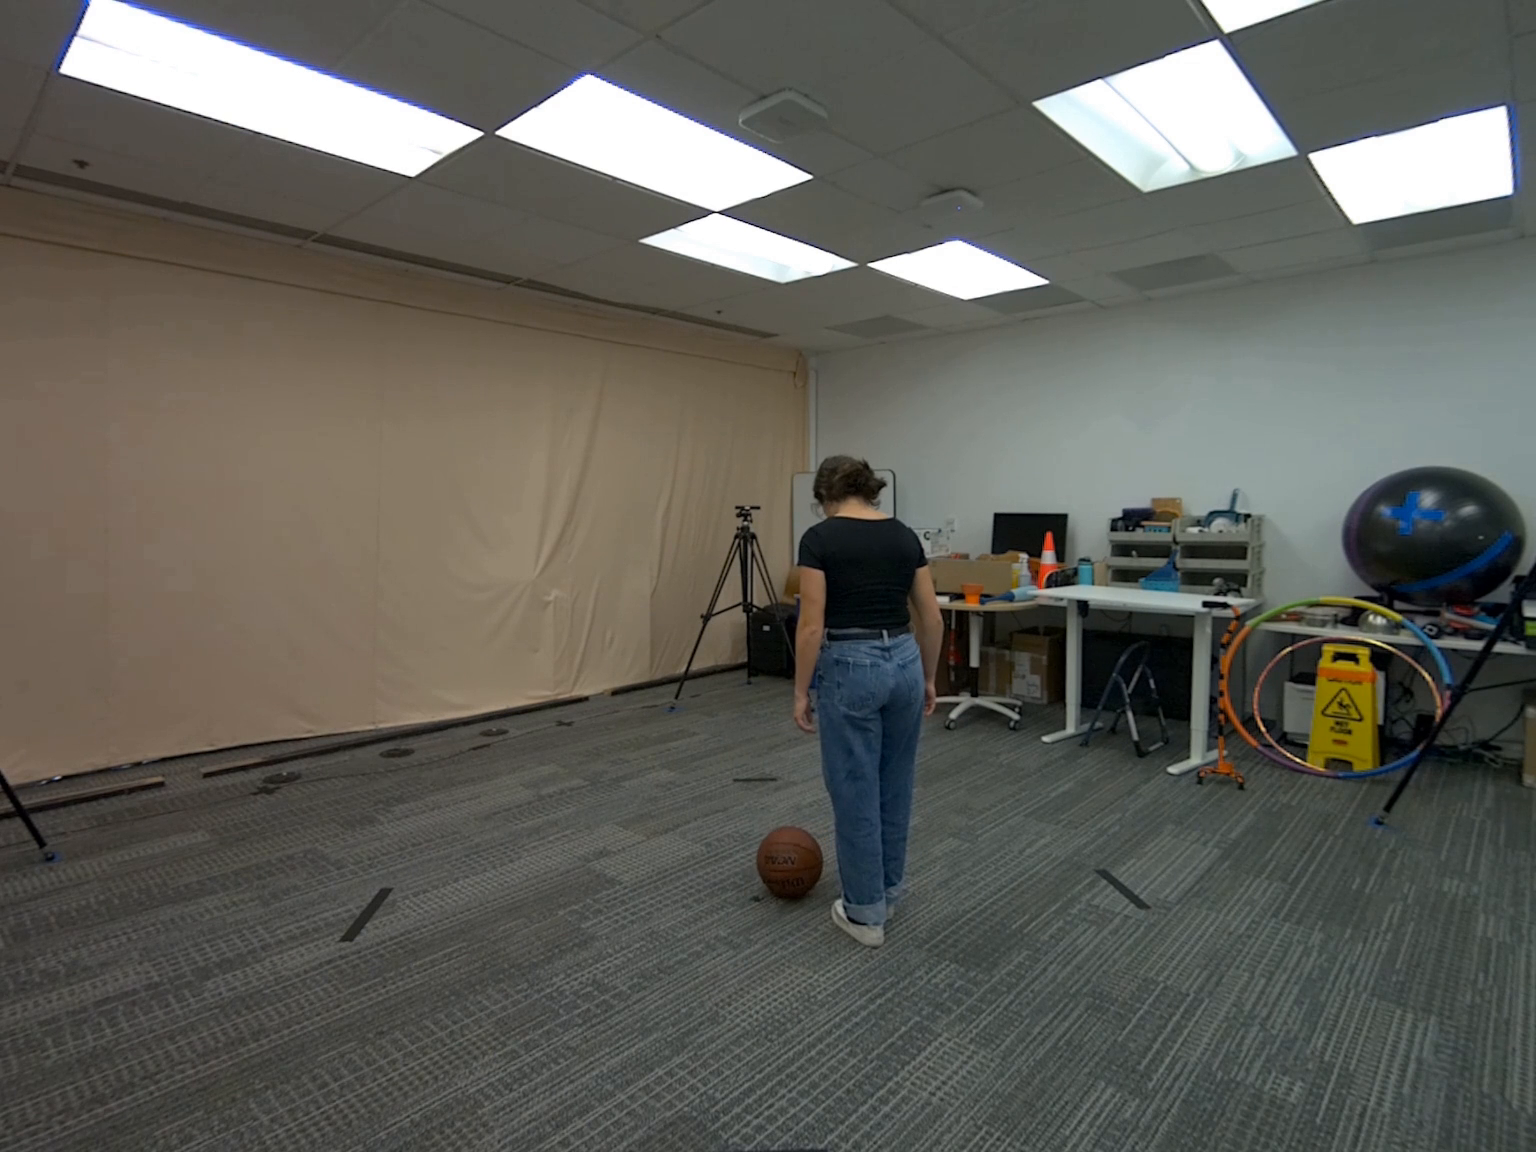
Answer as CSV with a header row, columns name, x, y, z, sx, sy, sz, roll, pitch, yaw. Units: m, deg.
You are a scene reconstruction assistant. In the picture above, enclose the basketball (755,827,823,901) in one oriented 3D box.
name,x,y,z,sx,sy,sz,roll,pitch,yaw
basketball,0.081,1.019,3.017,0.236,0.235,0.237,0,4,-2
